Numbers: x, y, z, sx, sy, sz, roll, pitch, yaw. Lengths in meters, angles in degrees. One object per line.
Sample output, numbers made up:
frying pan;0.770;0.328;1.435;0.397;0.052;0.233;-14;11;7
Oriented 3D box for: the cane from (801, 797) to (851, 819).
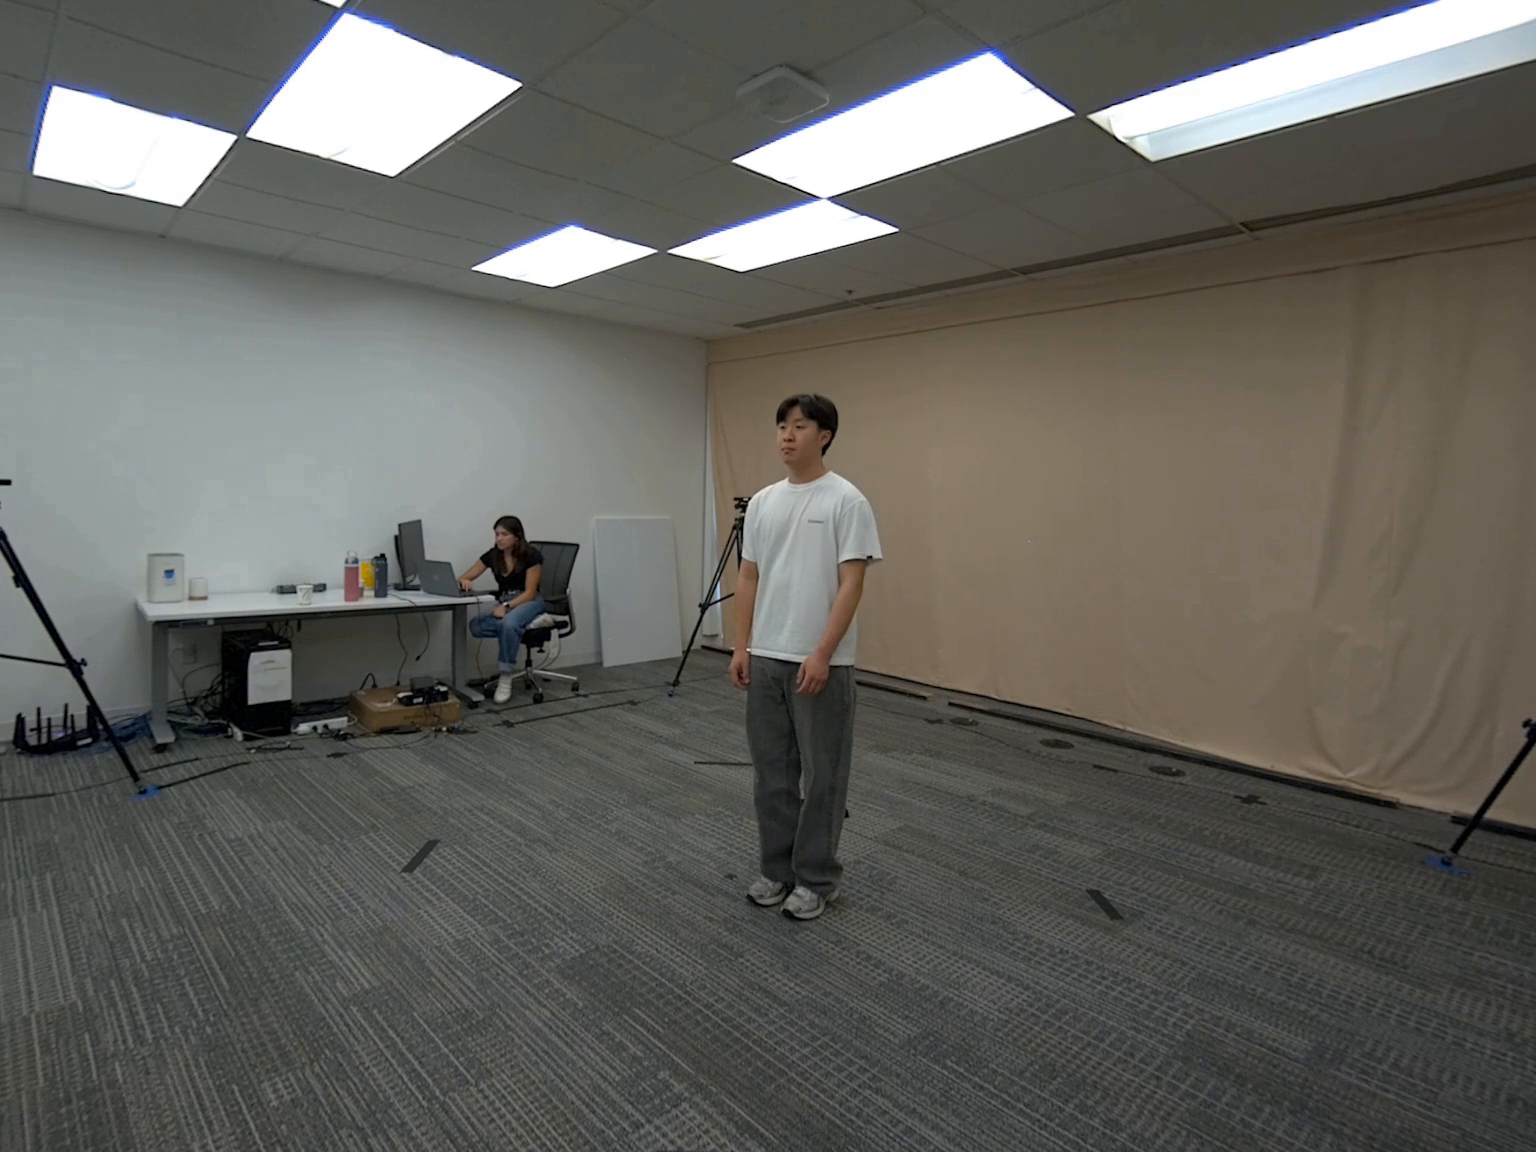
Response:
cane;0.263;0.616;3.764;0.149;0.906;0.211;1;3;-26
